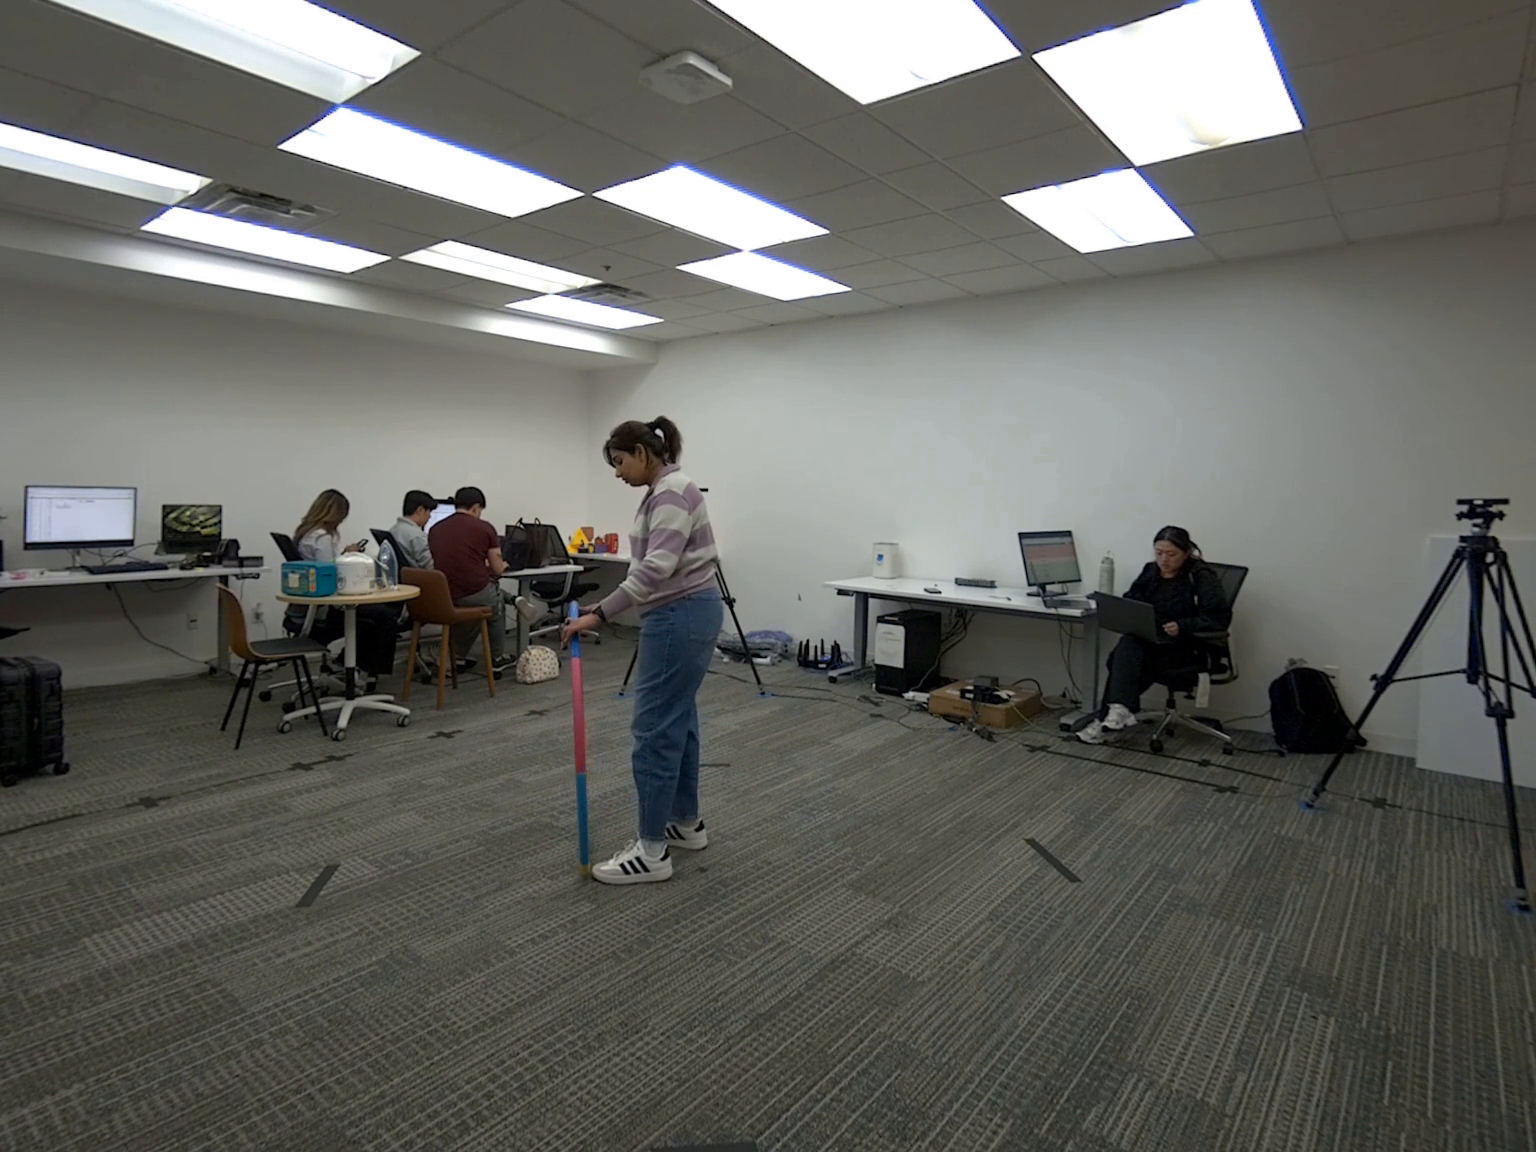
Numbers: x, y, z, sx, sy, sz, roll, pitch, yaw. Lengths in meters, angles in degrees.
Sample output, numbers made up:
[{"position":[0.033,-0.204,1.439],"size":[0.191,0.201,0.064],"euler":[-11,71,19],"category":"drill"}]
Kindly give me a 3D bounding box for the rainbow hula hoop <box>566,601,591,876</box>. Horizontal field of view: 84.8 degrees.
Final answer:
[{"position":[-0.705,0.579,3.133],"size":[0.051,0.982,1.000],"euler":[-3,5,-12],"category":"rainbow hula hoop"}]
